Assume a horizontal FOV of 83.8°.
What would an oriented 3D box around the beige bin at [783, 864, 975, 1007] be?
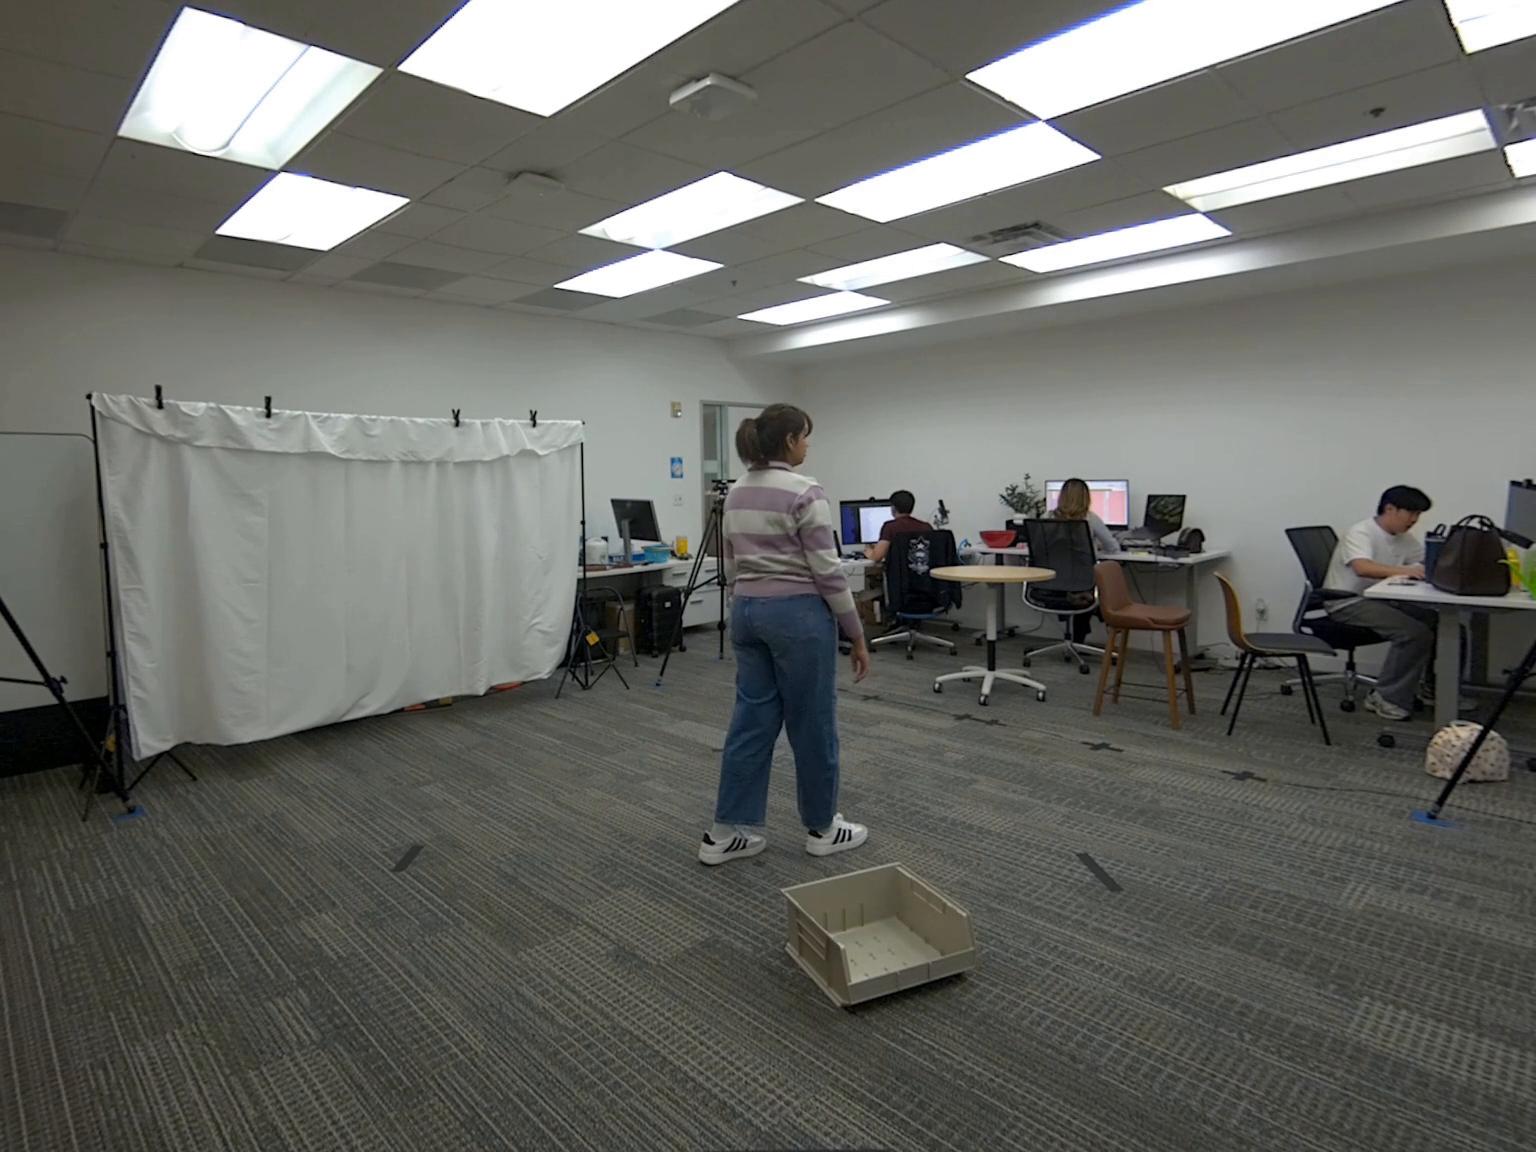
[{"bbox_3d":[0.315,1.032,2.448,0.414,0.188,0.386,-4,6,-25],"label":"beige bin"}]
